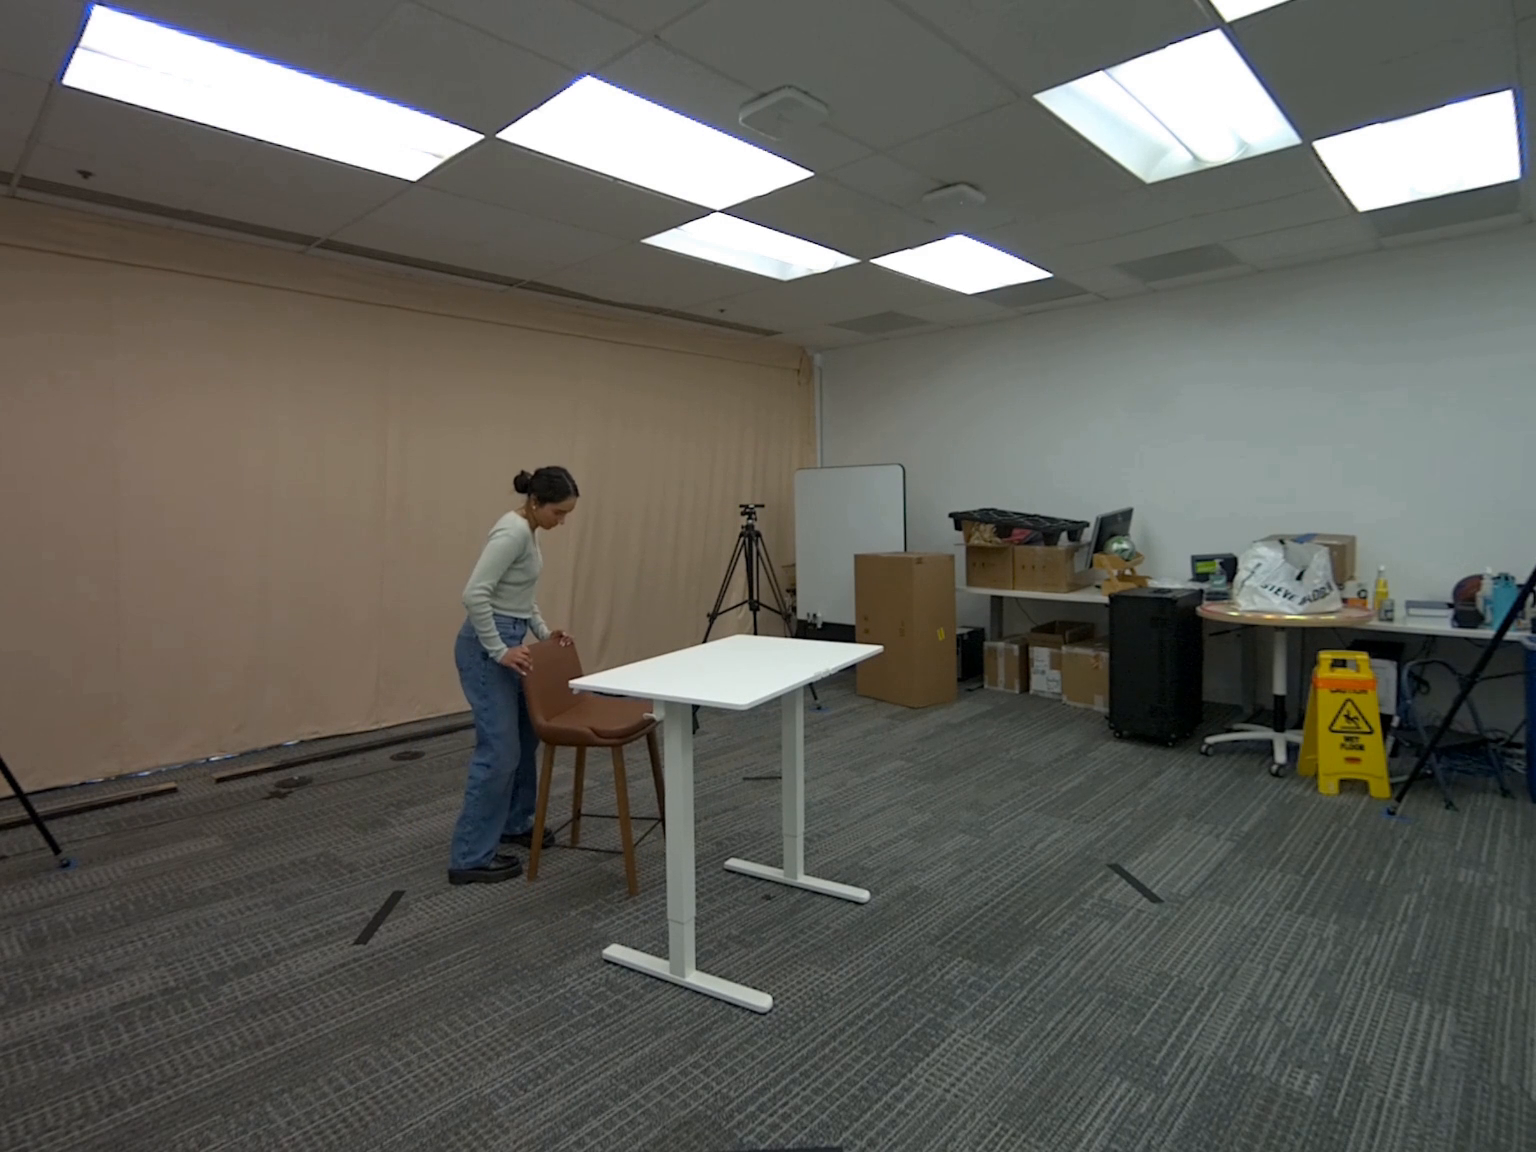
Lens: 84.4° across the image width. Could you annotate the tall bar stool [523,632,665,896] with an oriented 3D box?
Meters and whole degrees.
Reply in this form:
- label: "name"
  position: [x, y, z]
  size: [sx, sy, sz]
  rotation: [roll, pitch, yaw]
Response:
- label: "tall bar stool"
  position: [-0.665, 0.694, 3.248]
  size: [0.476, 0.888, 0.449]
  rotation: [-2, 3, 17]
